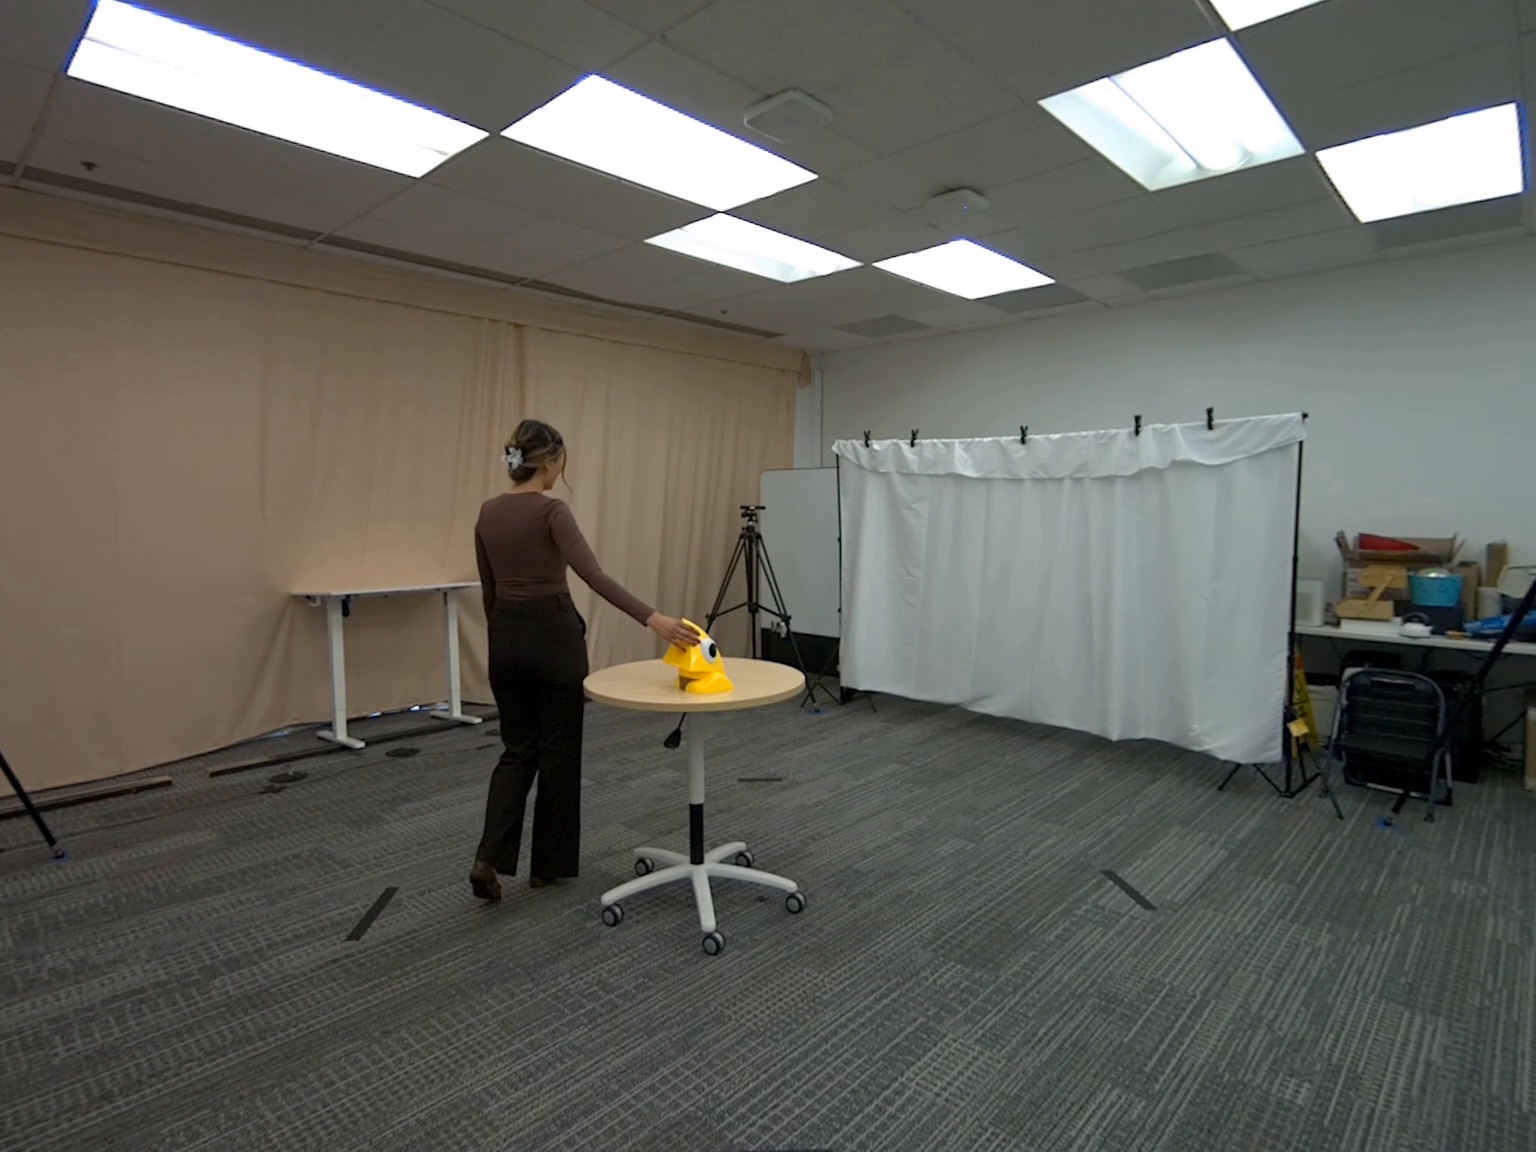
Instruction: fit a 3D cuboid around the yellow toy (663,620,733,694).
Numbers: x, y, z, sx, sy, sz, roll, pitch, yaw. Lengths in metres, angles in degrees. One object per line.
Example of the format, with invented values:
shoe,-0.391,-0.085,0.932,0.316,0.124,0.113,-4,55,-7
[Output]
yellow toy,-0.221,0.254,2.768,0.188,0.230,0.211,-2,4,-30
